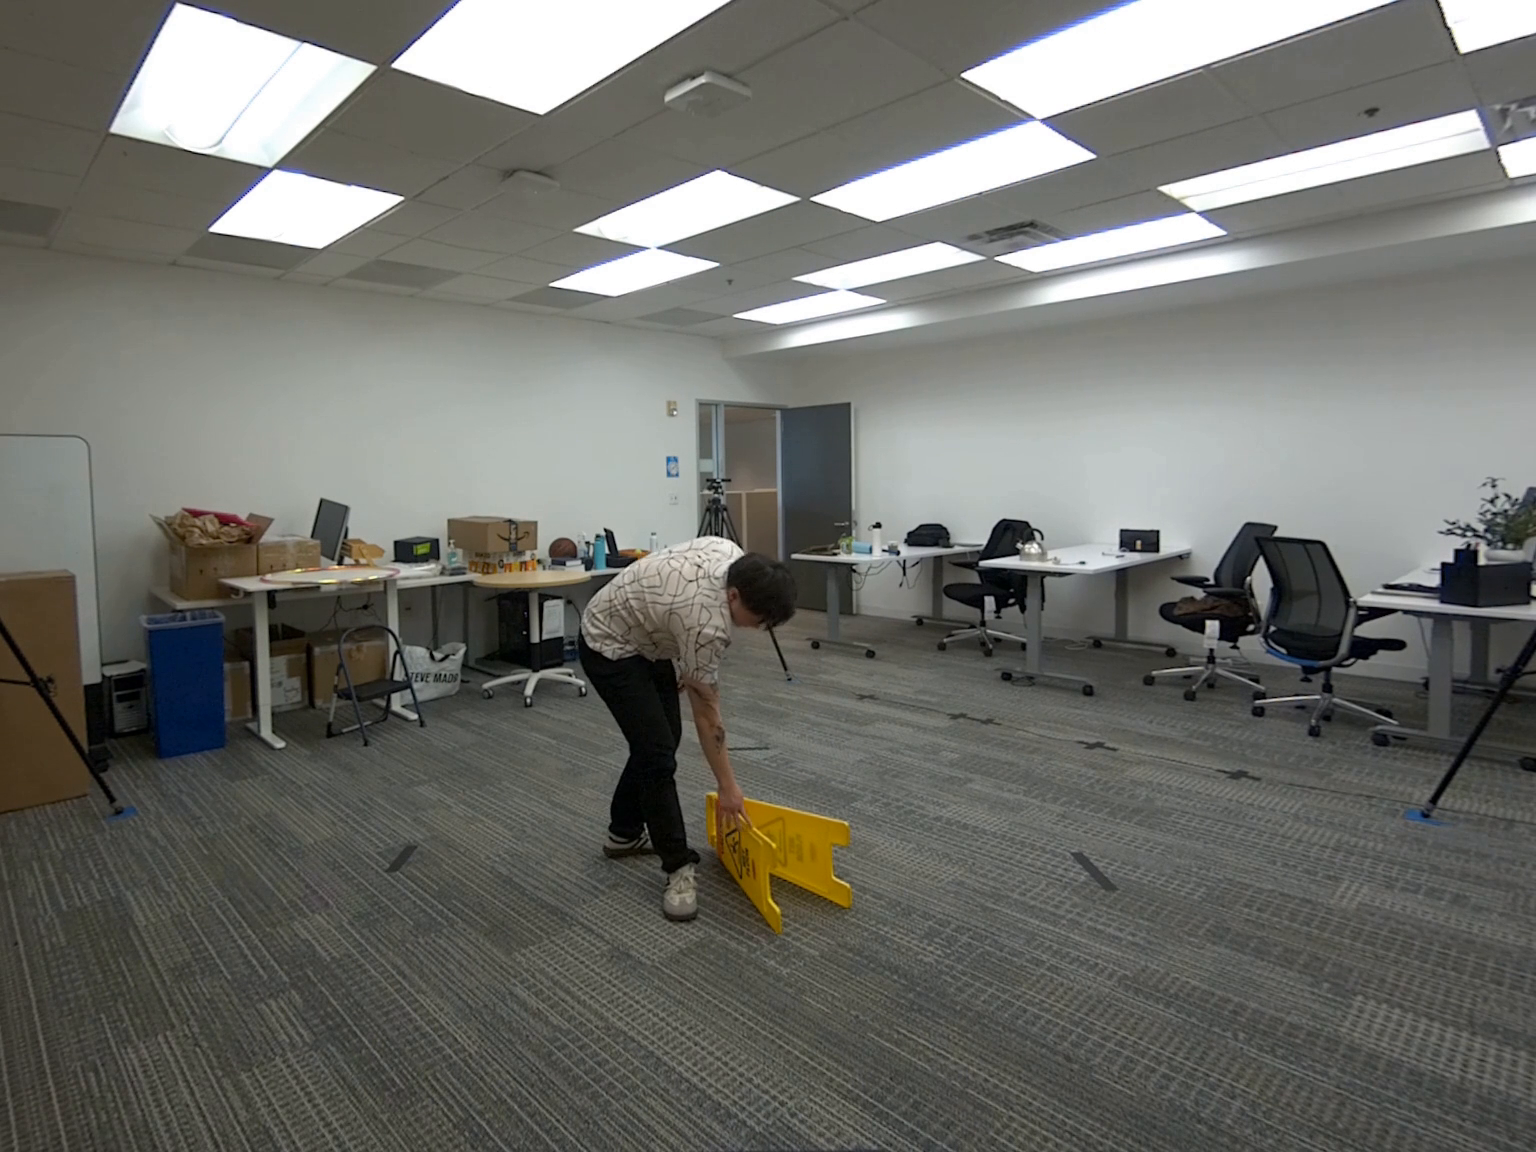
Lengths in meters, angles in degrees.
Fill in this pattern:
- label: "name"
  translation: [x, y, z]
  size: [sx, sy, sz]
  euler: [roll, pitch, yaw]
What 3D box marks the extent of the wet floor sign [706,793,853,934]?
- label: "wet floor sign"
  translation: [-0.036, 0.933, 2.957]
  size: [0.282, 0.281, 0.664]
  euler: [-4, 5, -34]
